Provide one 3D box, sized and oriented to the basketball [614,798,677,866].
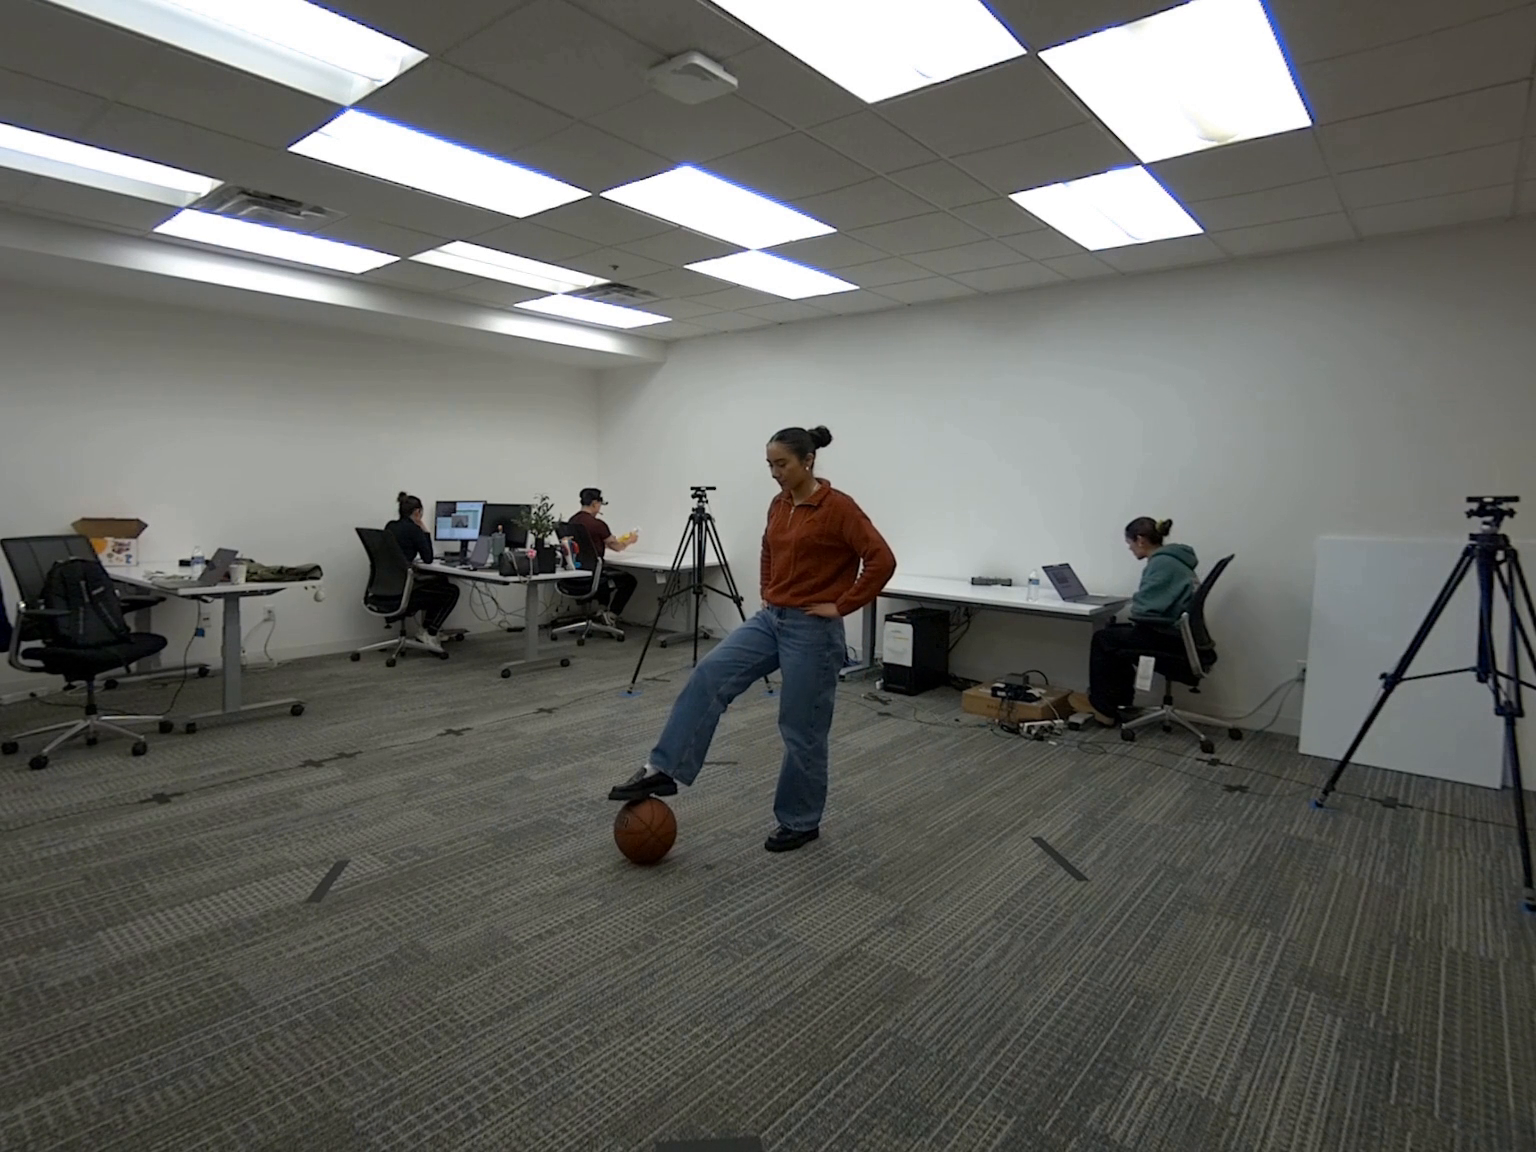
[{"bbox_3d":[-0.462,0.938,3.169,0.235,0.235,0.237,1,4,-2],"label":"basketball"}]
